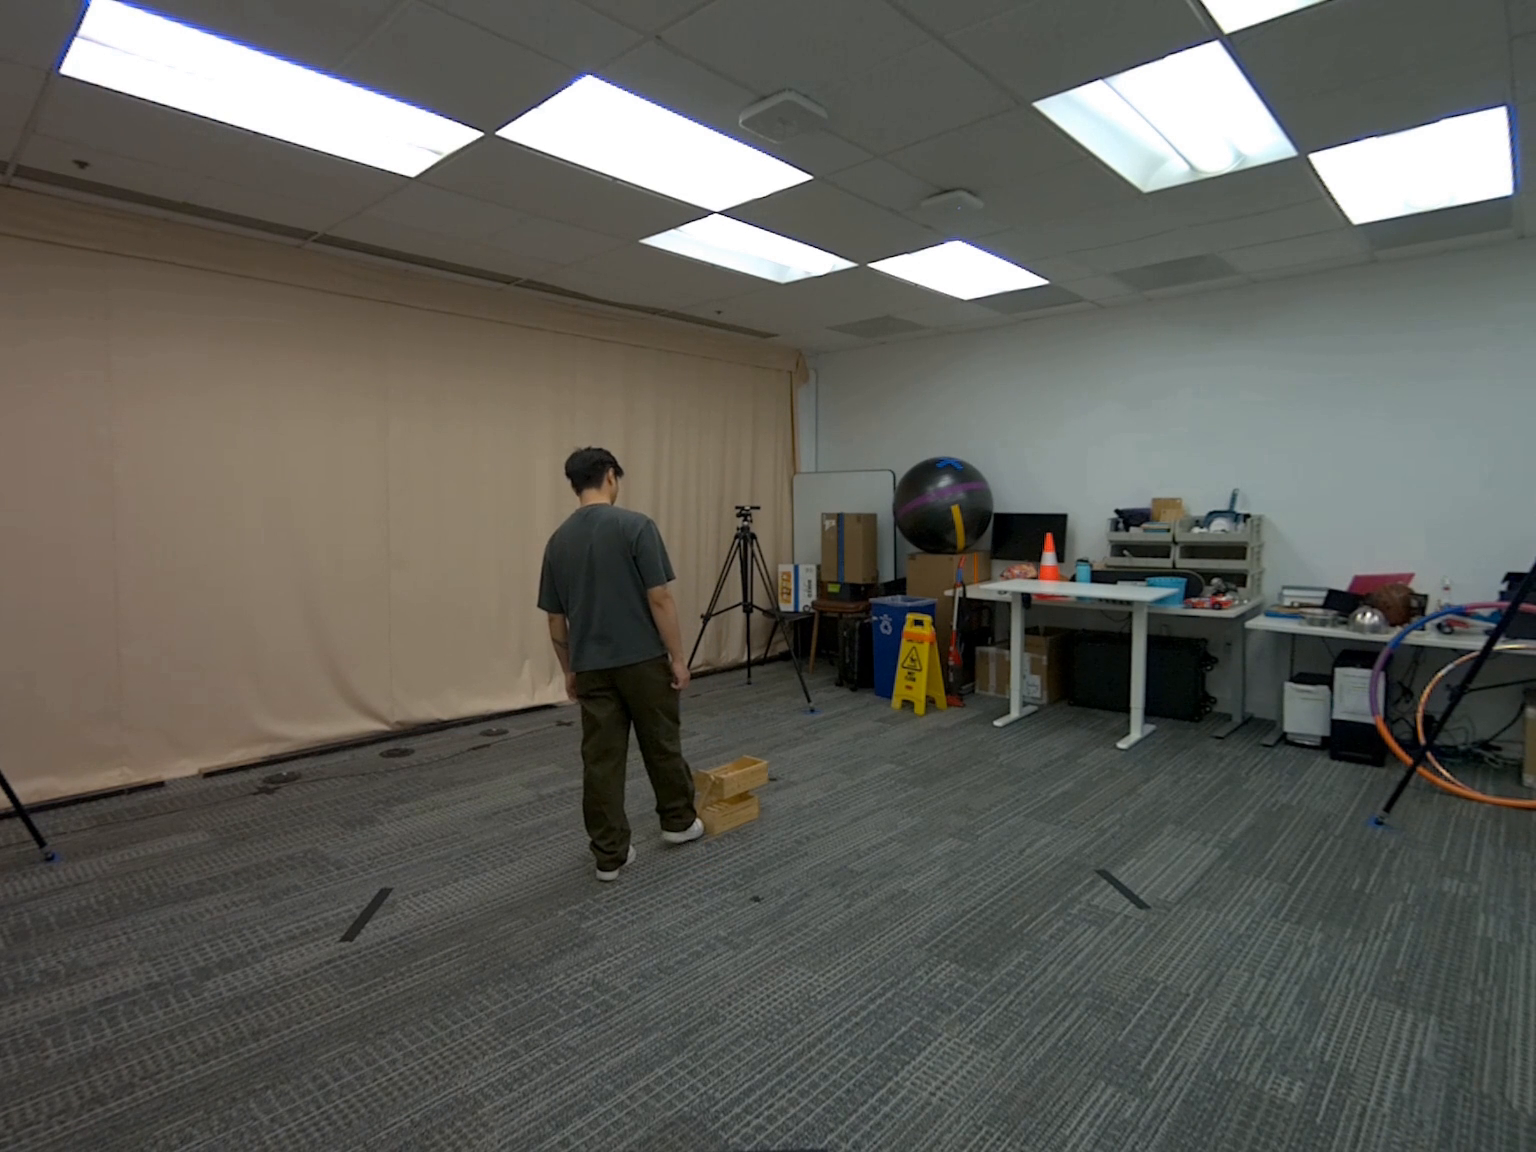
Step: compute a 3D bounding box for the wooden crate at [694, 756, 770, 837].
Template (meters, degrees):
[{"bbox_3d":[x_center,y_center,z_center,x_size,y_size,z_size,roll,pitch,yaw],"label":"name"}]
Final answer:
[{"bbox_3d":[-0.212,0.951,3.729,0.312,0.272,0.314,4,6,41],"label":"wooden crate"}]
